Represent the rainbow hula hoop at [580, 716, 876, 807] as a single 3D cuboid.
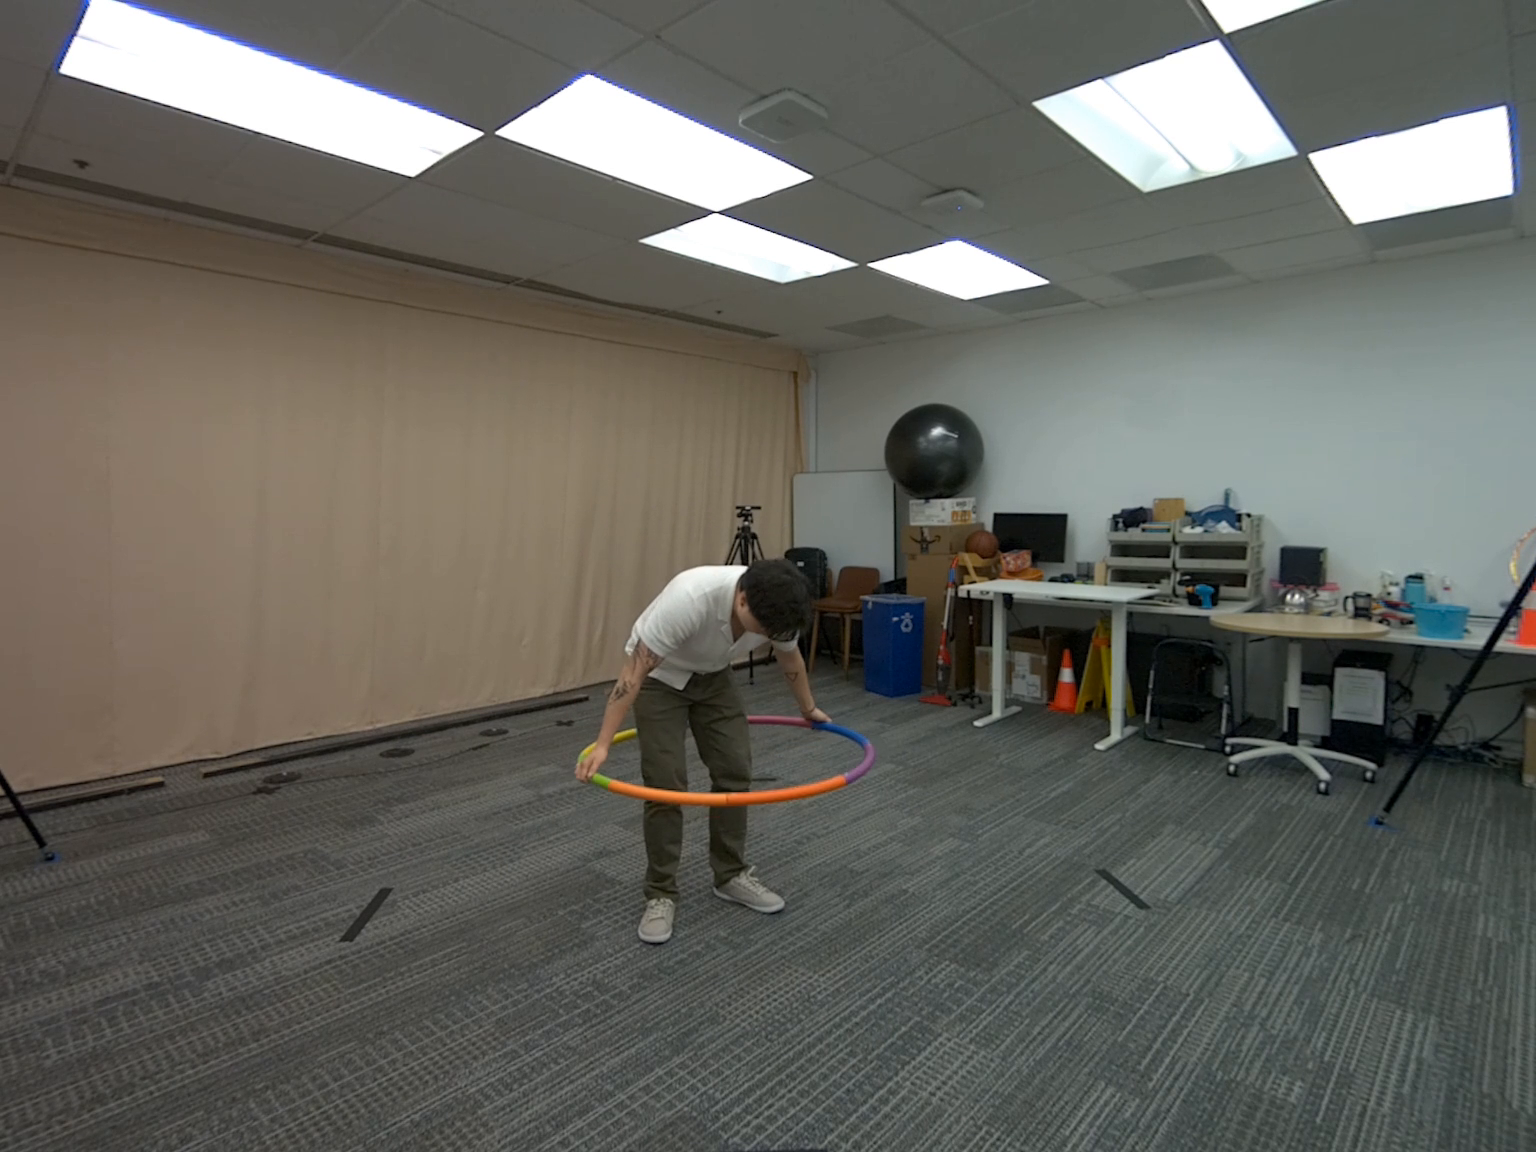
[{"bbox_3d":[-0.141,0.586,2.813,0.978,0.035,0.981,-2,3,-2],"label":"rainbow hula hoop"}]
